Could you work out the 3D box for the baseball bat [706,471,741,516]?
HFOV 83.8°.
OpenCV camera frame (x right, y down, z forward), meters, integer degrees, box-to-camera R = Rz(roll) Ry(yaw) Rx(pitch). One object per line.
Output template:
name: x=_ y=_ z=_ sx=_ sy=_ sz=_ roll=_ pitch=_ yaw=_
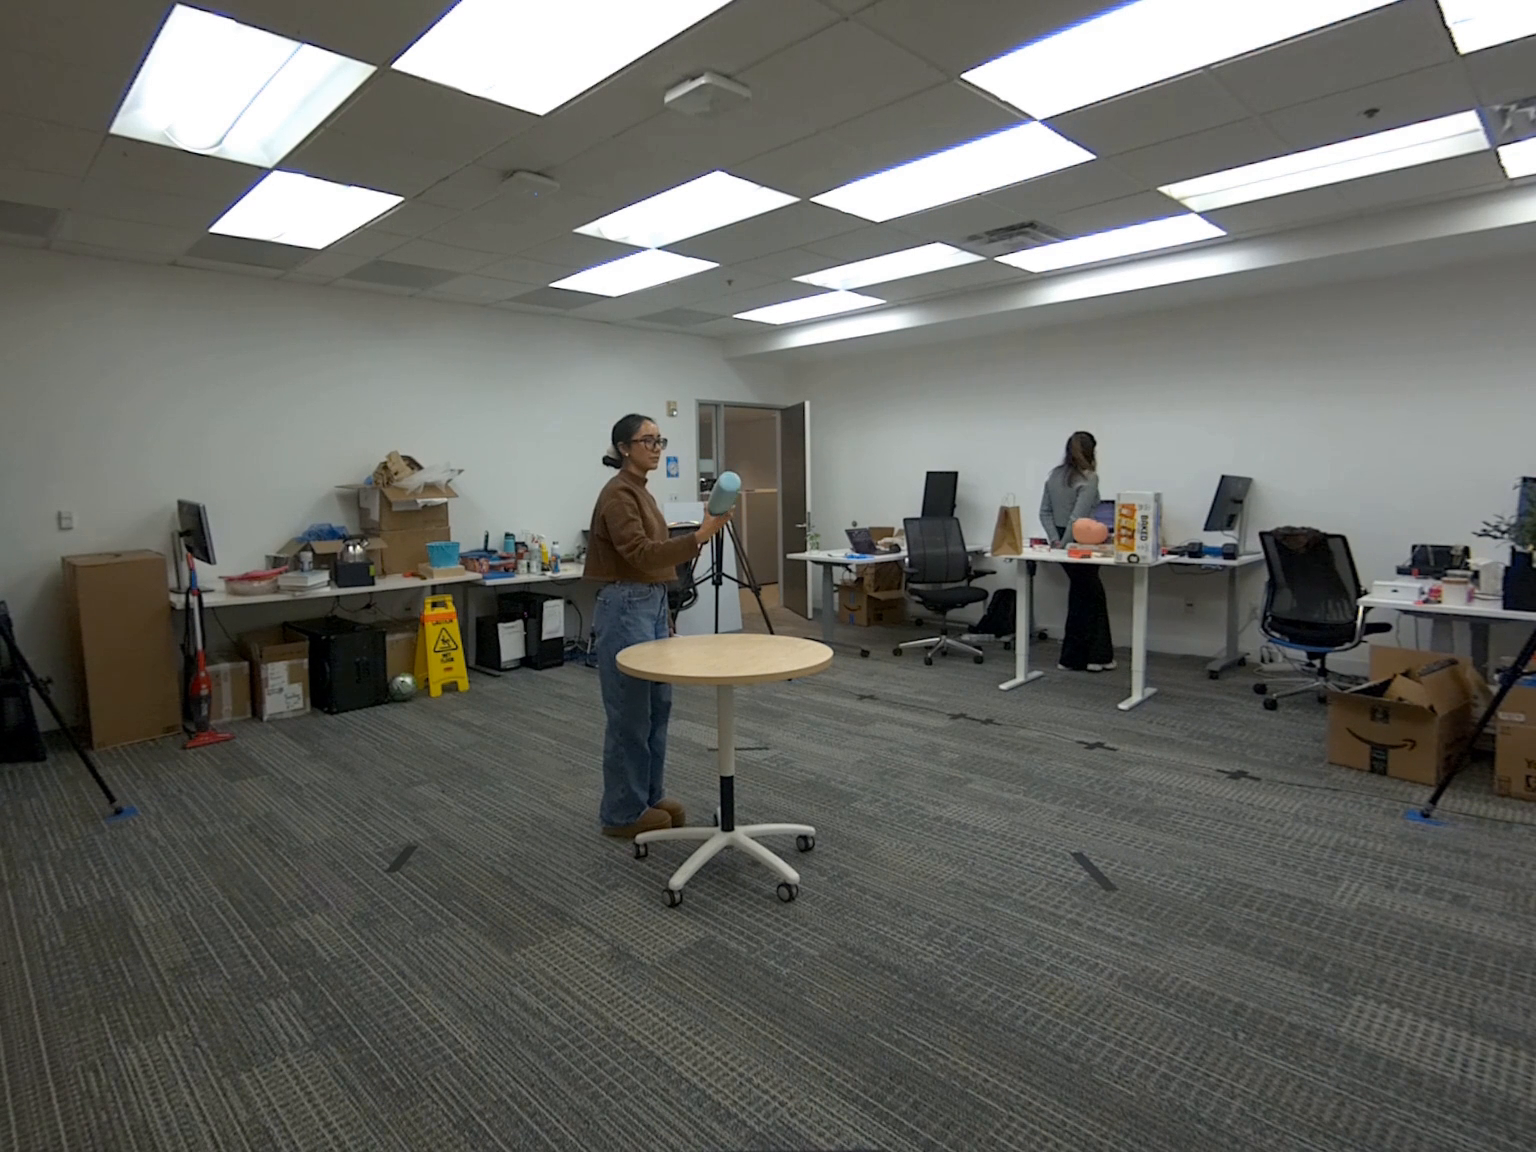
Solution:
baseball bat: x=-0.204 y=-0.236 z=3.228 sx=0.088 sy=0.091 sz=0.539 roll=-2 pitch=-20 yaw=-15
